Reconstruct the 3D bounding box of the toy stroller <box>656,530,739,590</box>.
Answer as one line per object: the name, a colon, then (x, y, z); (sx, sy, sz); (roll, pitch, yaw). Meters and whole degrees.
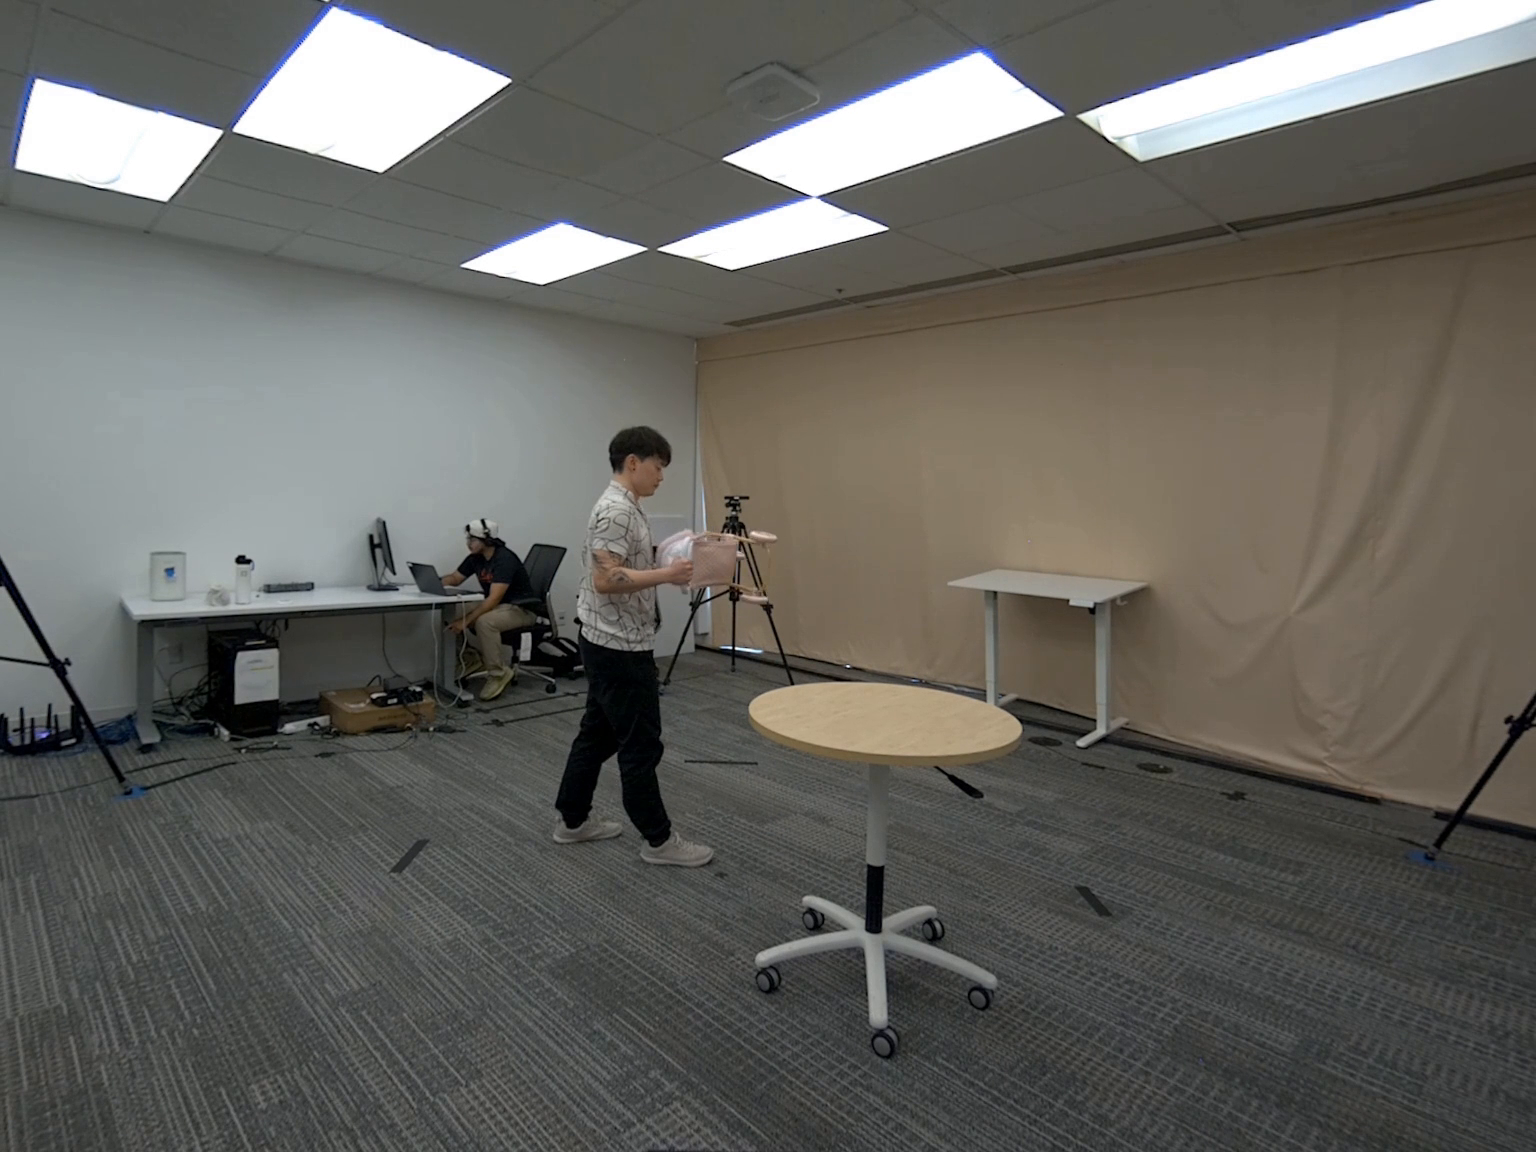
toy stroller: (-0.224, -0.065, 3.280); (0.522, 0.280, 0.352); (1, 14, -41)
